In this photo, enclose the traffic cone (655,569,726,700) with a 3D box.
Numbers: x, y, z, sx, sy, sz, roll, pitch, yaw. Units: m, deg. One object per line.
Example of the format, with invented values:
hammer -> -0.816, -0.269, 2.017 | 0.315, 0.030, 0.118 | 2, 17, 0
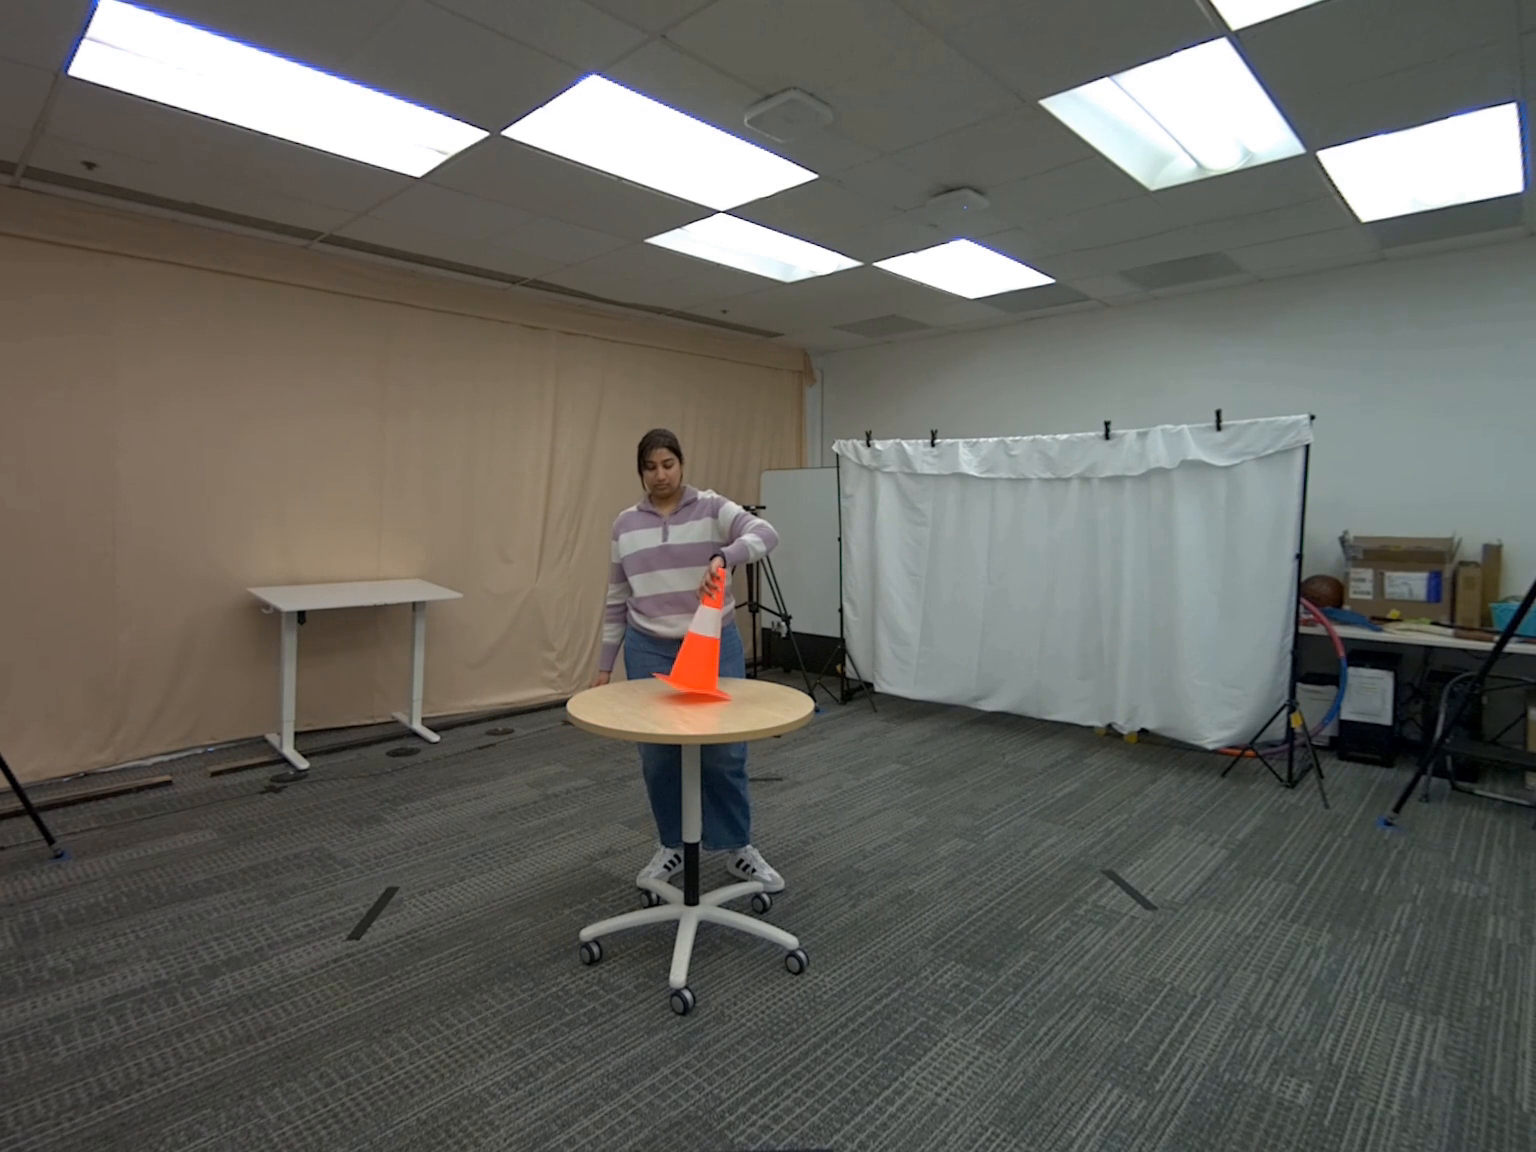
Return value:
traffic cone -> -0.198, 0.158, 2.664 | 0.197, 0.383, 0.211 | 9, 1, -33
